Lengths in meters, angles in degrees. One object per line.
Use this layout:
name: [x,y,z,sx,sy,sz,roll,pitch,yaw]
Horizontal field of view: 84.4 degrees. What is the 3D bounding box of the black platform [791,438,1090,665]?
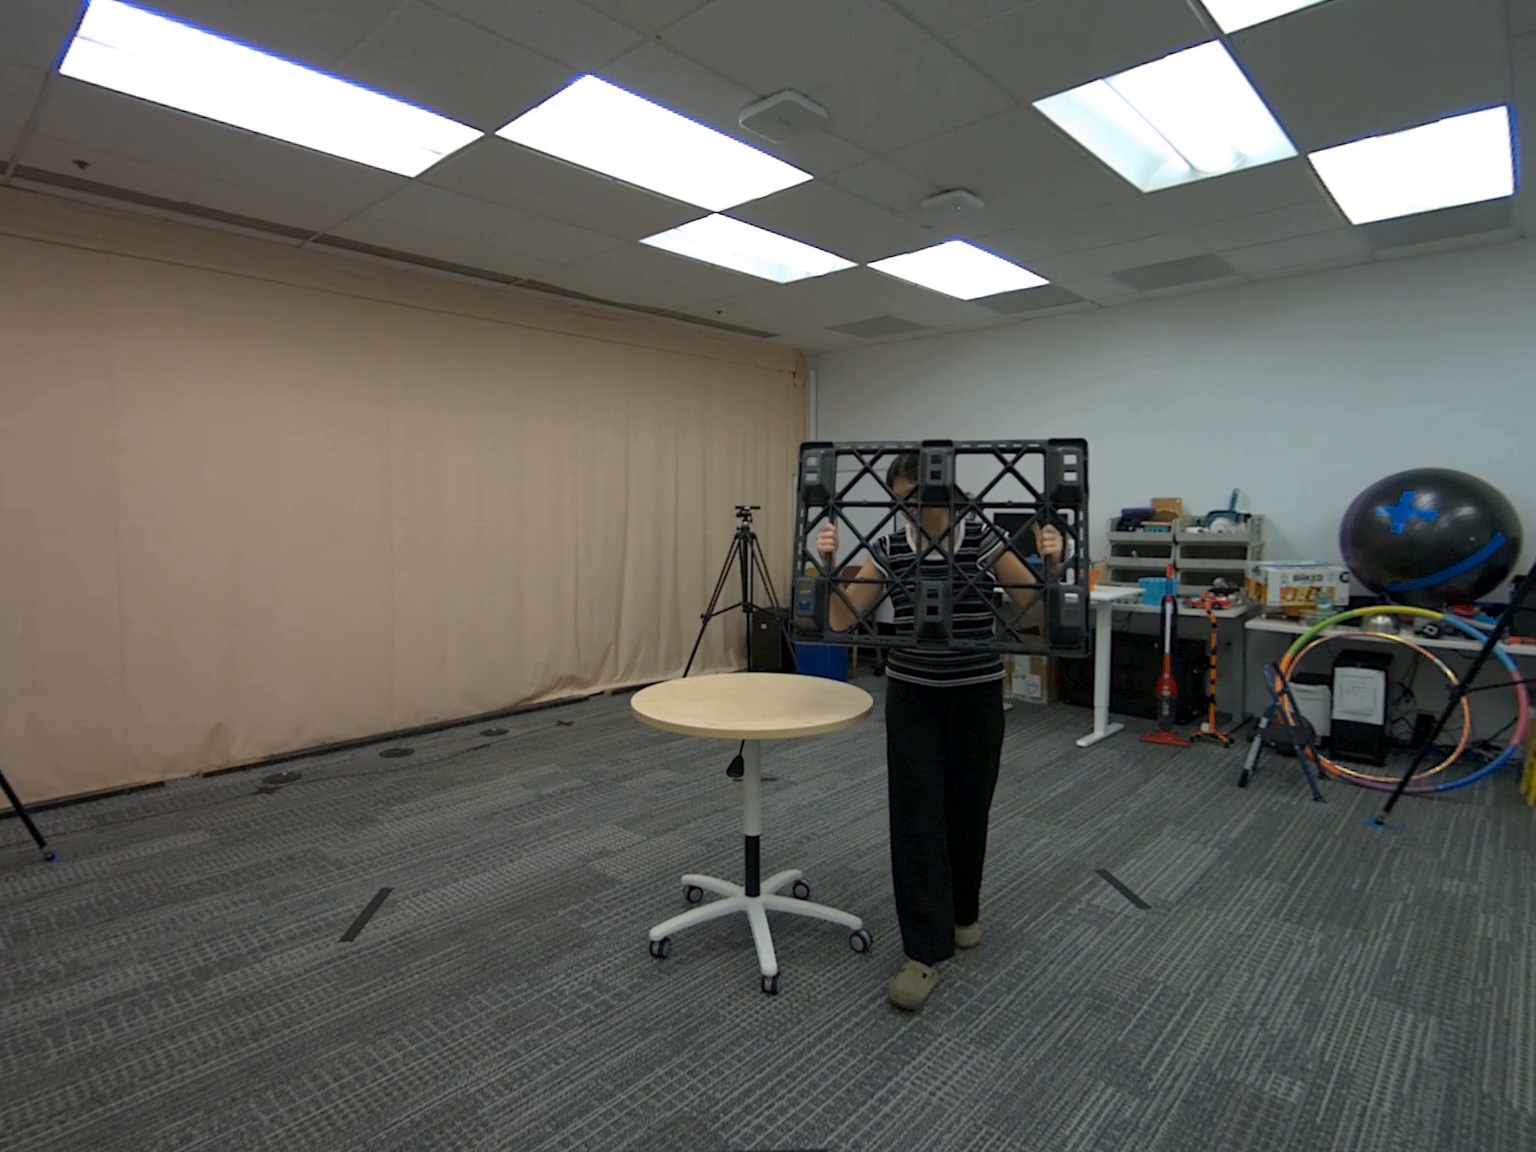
black platform: [0.471,-0.110,2.319,0.819,0.608,0.140,1,-9,15]
